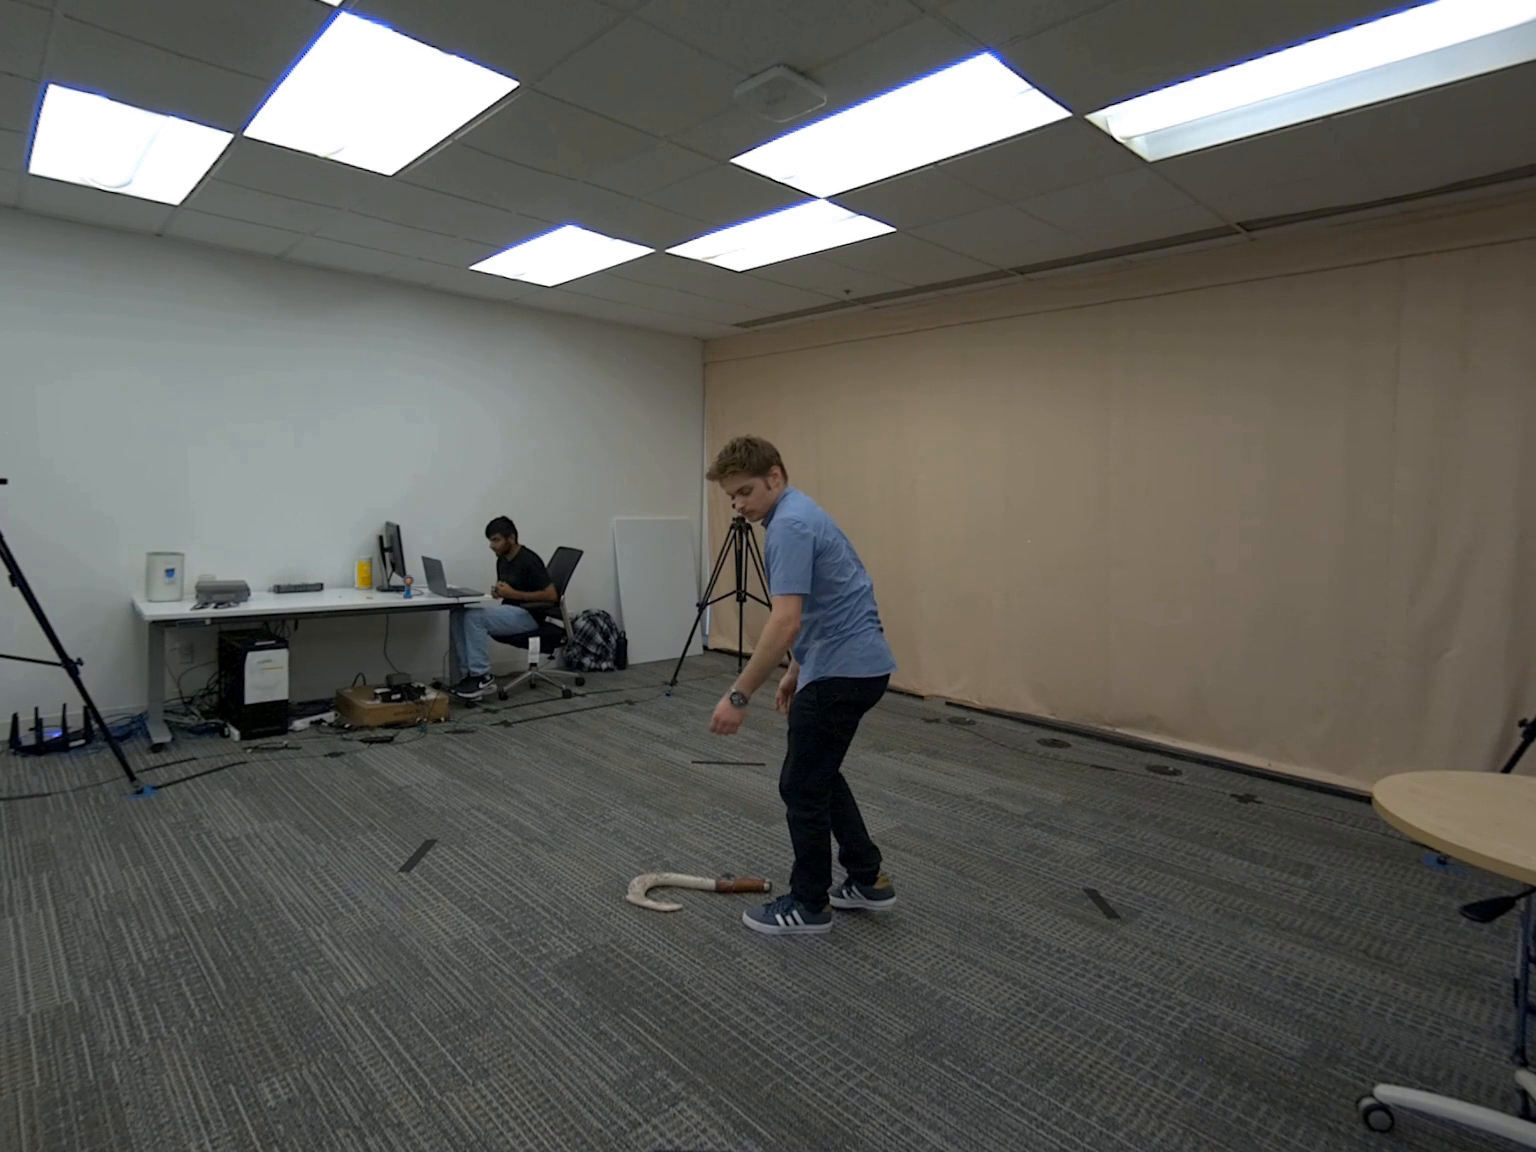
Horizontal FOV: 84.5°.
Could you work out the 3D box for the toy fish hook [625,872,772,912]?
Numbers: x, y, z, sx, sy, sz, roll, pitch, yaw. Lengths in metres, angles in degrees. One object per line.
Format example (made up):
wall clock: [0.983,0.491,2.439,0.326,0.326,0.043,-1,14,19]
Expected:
toy fish hook: [-0.241,1.104,2.931,0.506,0.048,0.227,1,14,-1]
